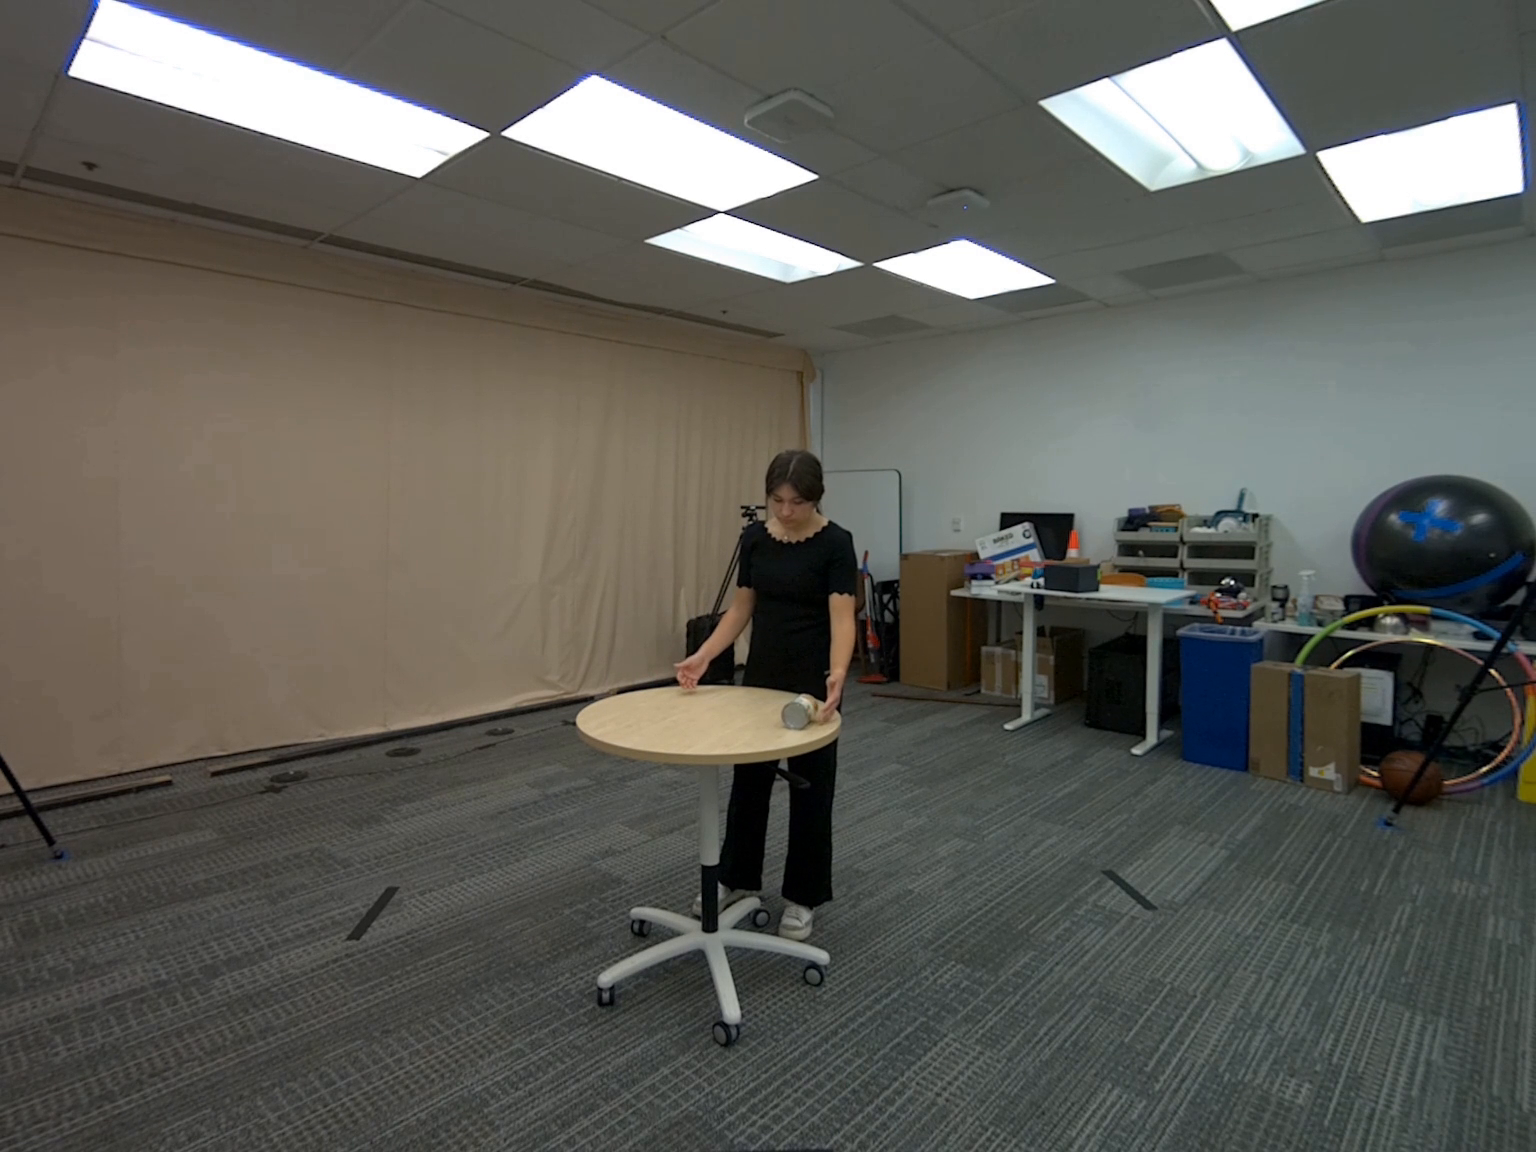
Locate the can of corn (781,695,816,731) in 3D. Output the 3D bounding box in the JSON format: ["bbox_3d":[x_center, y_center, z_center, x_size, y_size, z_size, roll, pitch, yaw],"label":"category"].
[{"bbox_3d":[0.092,0.374,2.347,0.076,0.074,0.109,1,5,18],"label":"can of corn"}]
